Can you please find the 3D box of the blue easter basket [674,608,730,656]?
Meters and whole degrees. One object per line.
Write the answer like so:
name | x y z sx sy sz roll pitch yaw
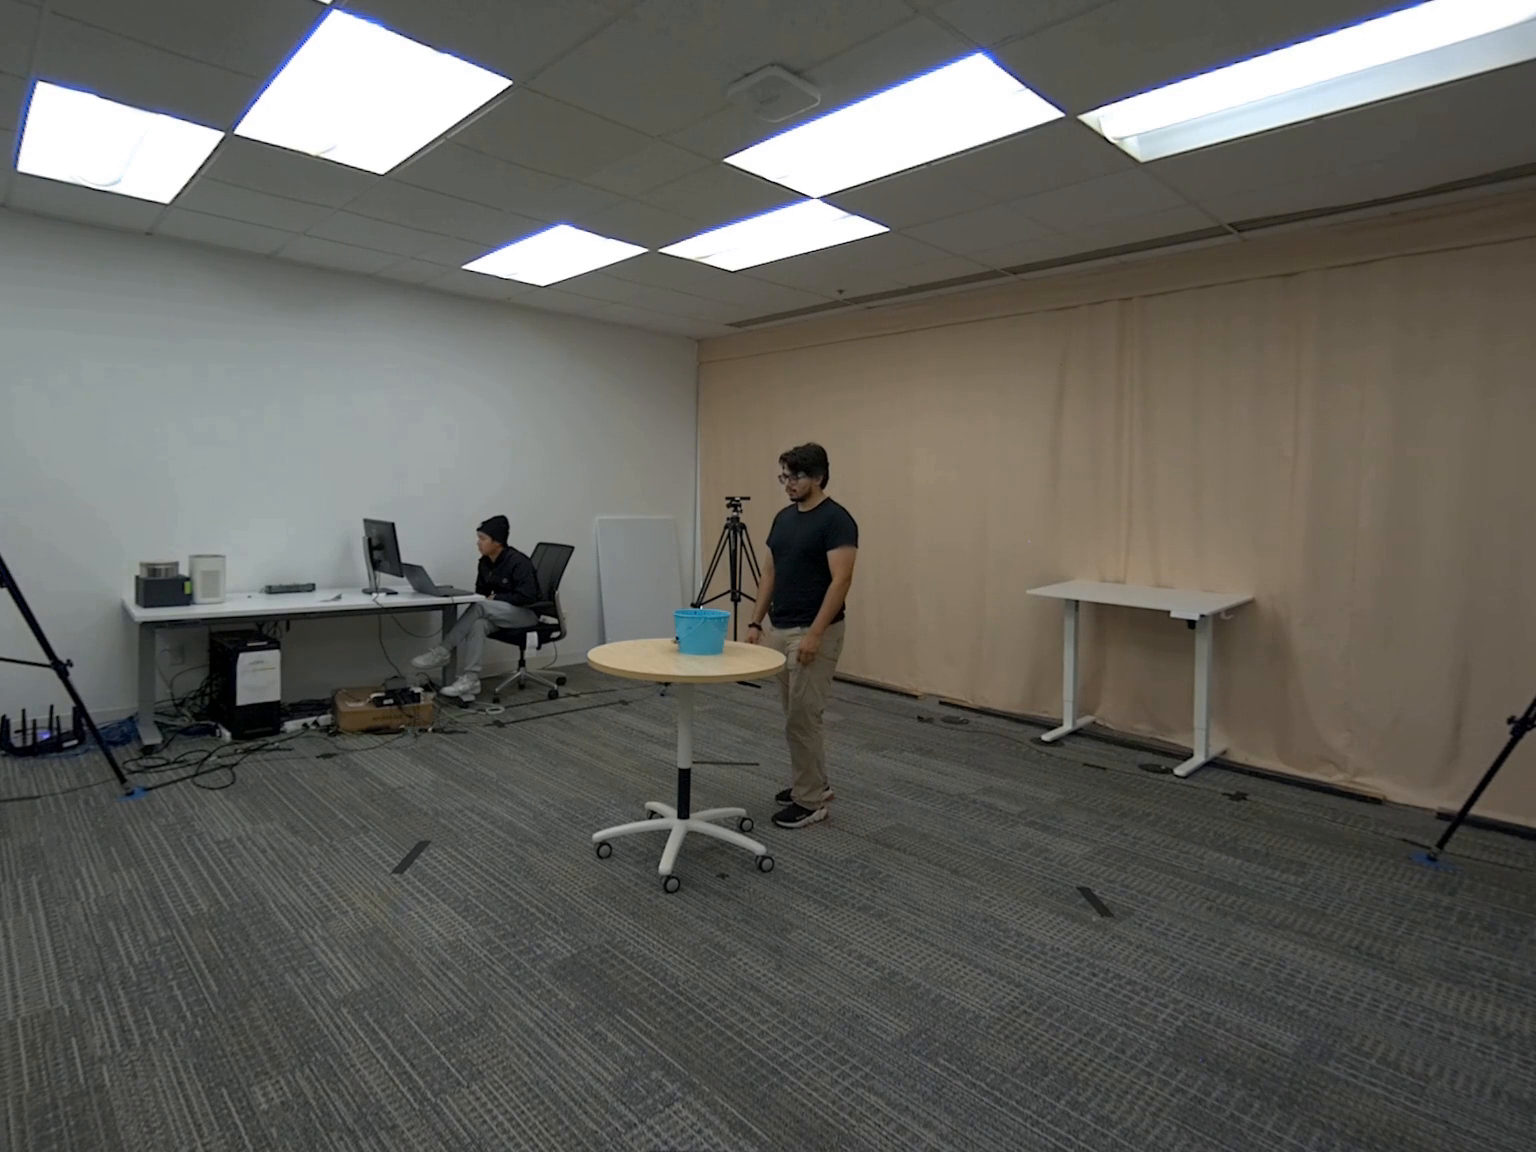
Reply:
blue easter basket | -0.279 0.224 3.352 0.243 0.155 0.244 2 4 -1
